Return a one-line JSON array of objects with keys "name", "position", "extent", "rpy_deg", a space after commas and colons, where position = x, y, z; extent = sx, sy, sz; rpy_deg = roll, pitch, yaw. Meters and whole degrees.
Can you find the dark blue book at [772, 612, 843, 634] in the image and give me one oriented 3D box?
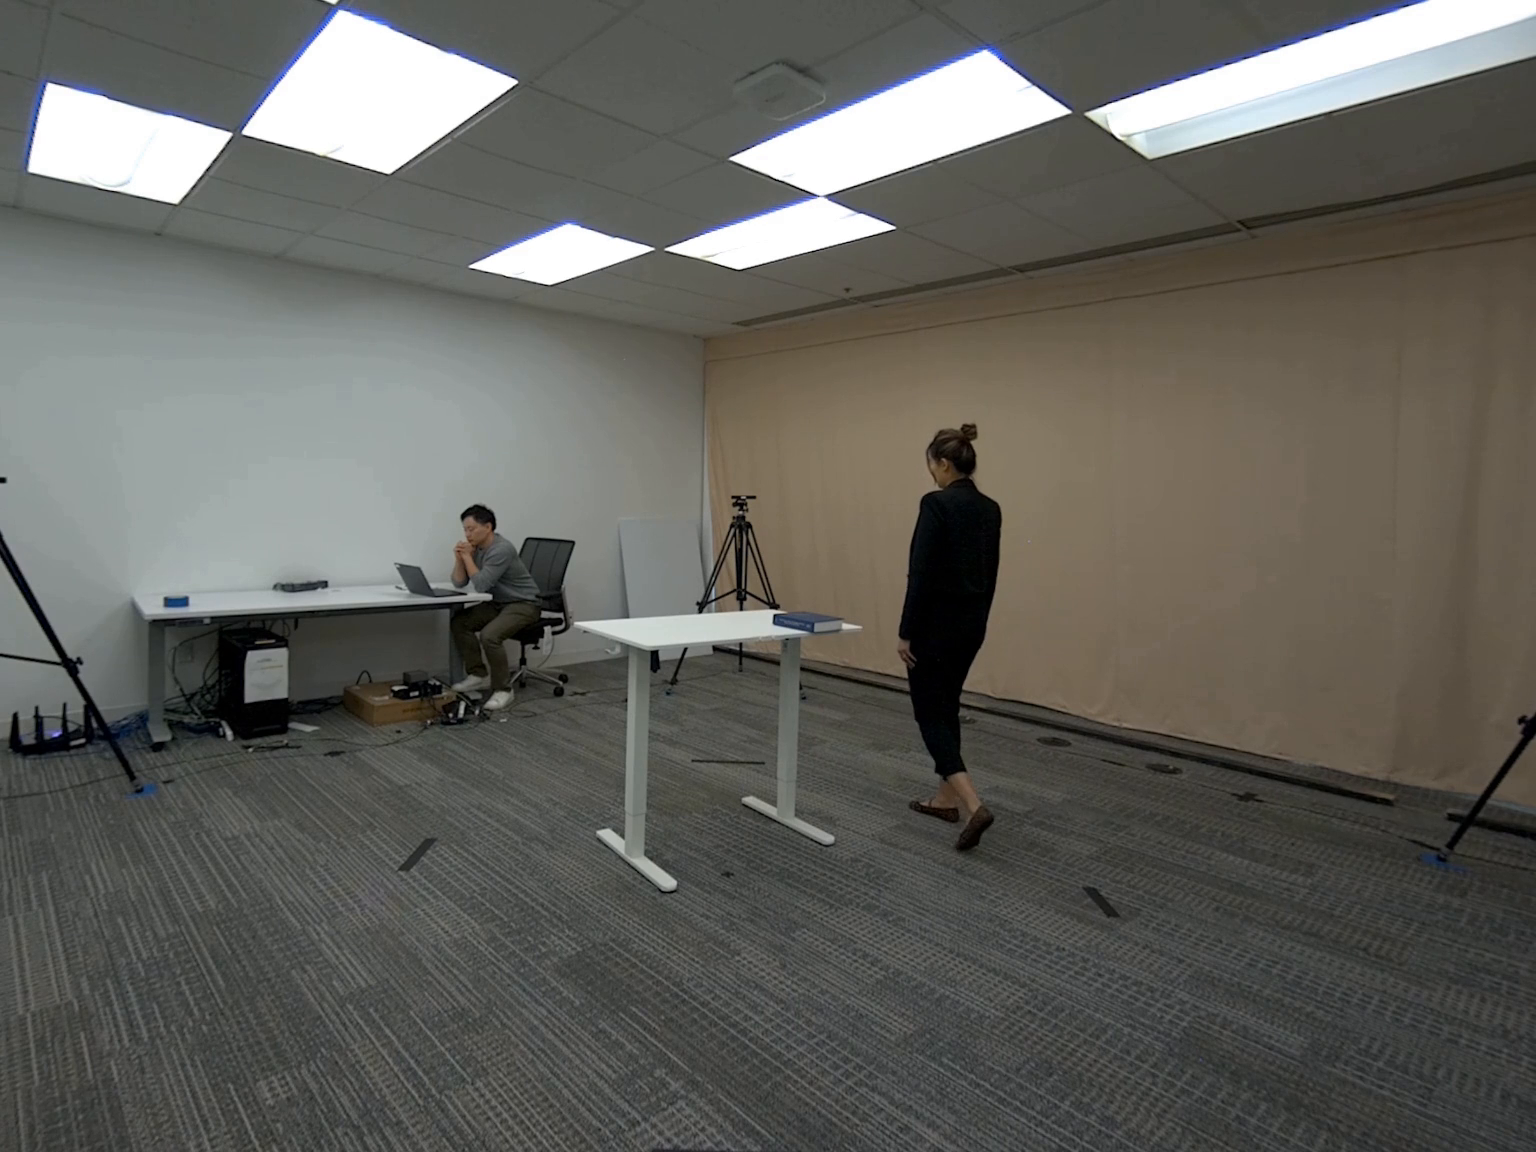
[{"name": "dark blue book", "position": [0.156, 0.184, 3.359], "extent": [0.160, 0.045, 0.251], "rpy_deg": [-3, 7, -39]}]
